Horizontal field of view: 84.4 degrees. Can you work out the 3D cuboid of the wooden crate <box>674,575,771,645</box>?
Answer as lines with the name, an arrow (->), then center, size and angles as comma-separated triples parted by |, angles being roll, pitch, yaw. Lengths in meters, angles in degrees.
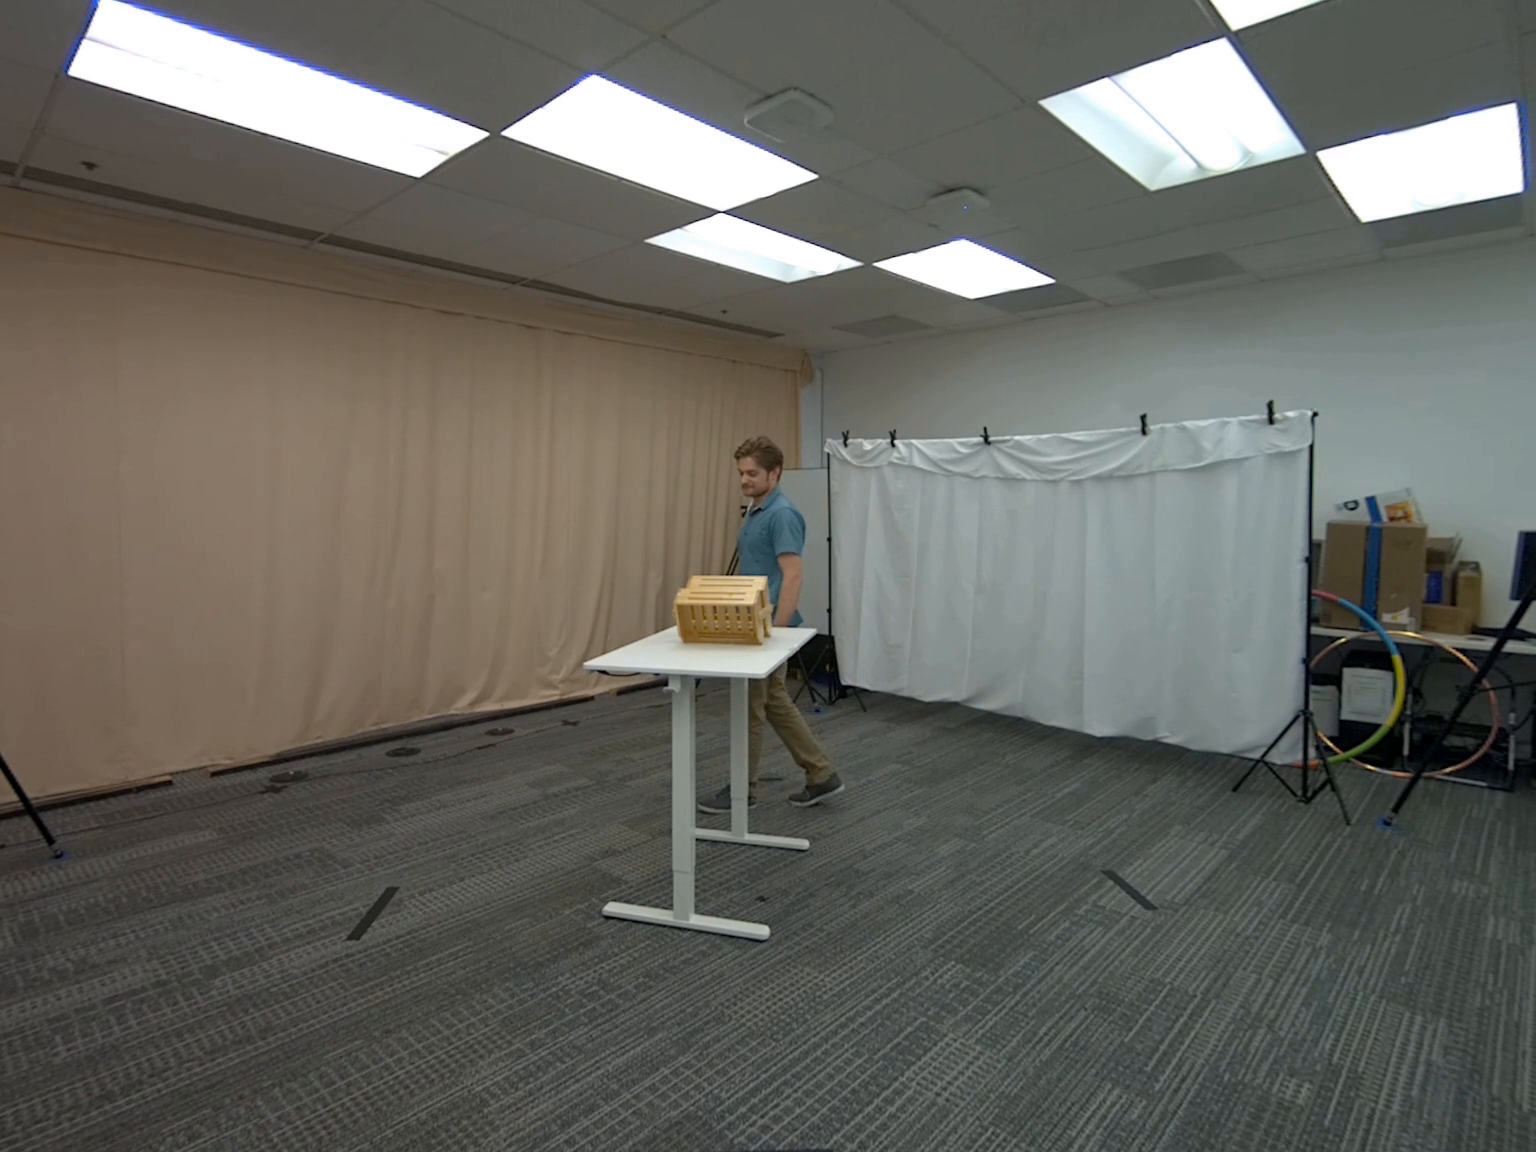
wooden crate -> -0.163, 0.158, 3.157 | 0.329, 0.296, 0.275 | 0, 30, 12
